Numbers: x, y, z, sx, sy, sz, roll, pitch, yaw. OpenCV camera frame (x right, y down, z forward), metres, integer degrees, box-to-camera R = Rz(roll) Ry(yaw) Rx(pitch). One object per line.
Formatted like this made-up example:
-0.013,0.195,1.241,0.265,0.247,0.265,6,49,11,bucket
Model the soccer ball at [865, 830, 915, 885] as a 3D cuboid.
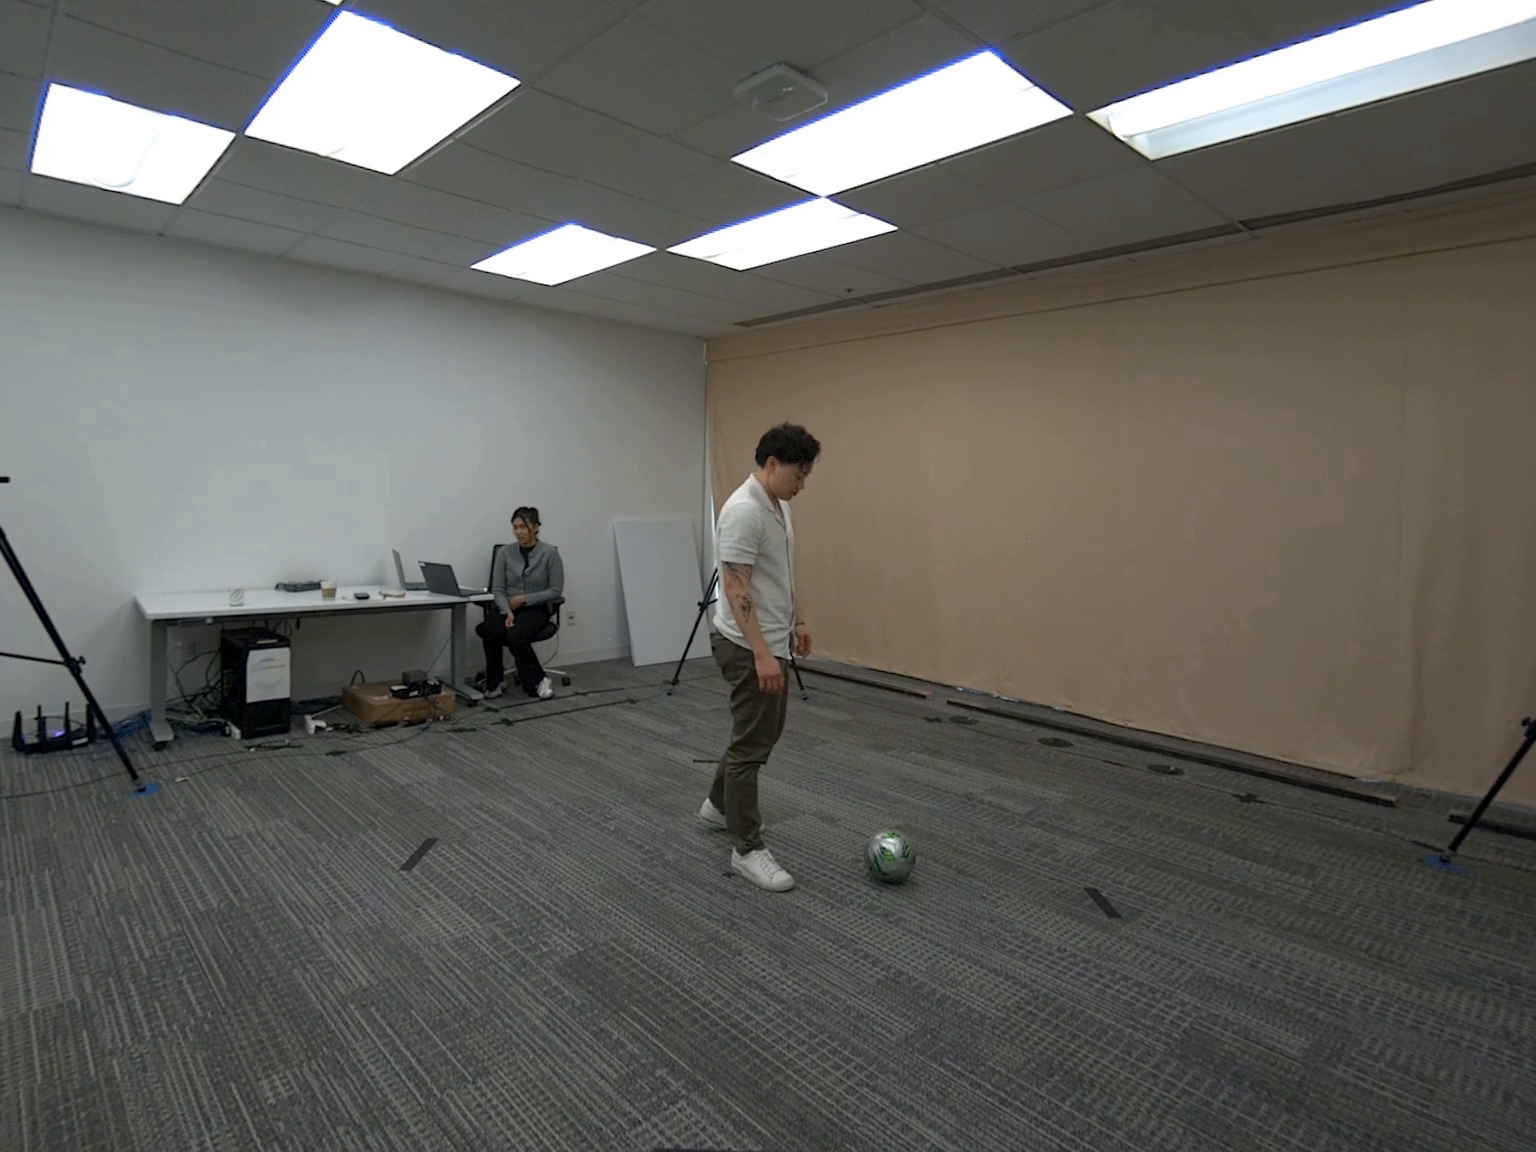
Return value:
0.433,1.022,3.083,0.187,0.187,0.188,1,4,-1,soccer ball
